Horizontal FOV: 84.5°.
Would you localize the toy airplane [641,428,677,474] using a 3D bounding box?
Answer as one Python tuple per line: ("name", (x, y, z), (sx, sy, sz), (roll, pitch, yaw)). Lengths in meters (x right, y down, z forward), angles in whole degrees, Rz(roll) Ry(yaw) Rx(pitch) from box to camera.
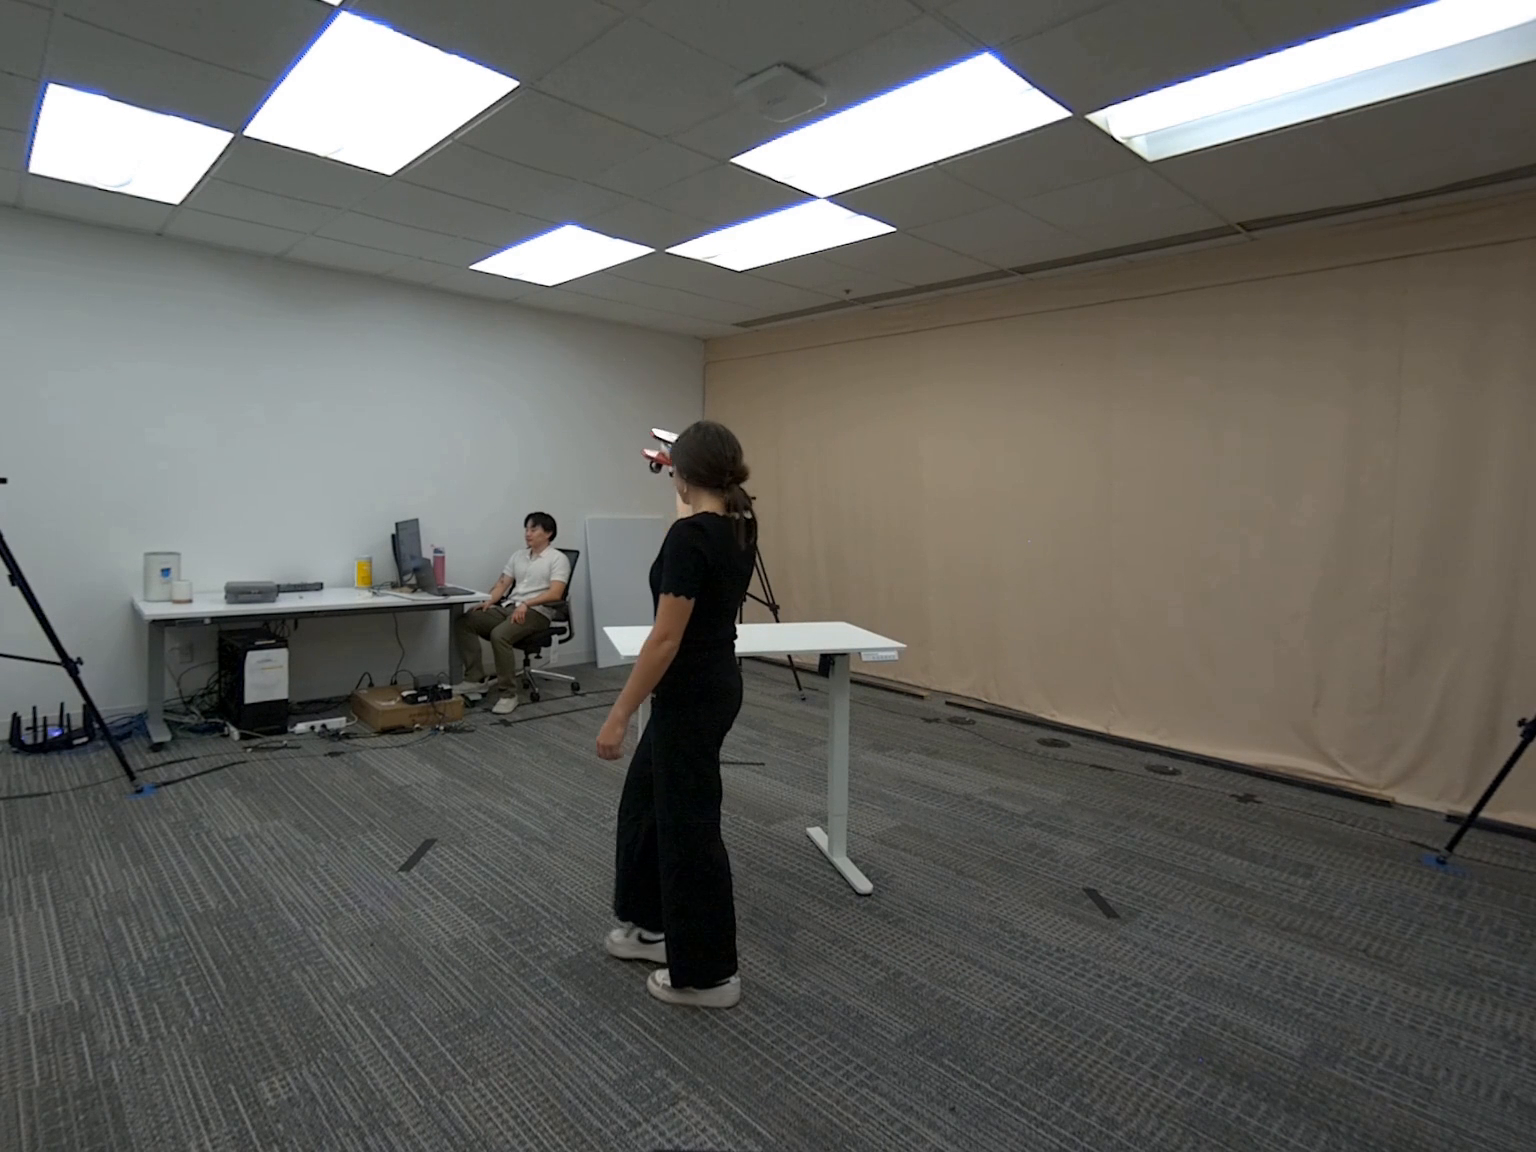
("toy airplane", (-0.307, -0.409, 2.979), (0.265, 0.156, 0.246), (21, 9, 24))
